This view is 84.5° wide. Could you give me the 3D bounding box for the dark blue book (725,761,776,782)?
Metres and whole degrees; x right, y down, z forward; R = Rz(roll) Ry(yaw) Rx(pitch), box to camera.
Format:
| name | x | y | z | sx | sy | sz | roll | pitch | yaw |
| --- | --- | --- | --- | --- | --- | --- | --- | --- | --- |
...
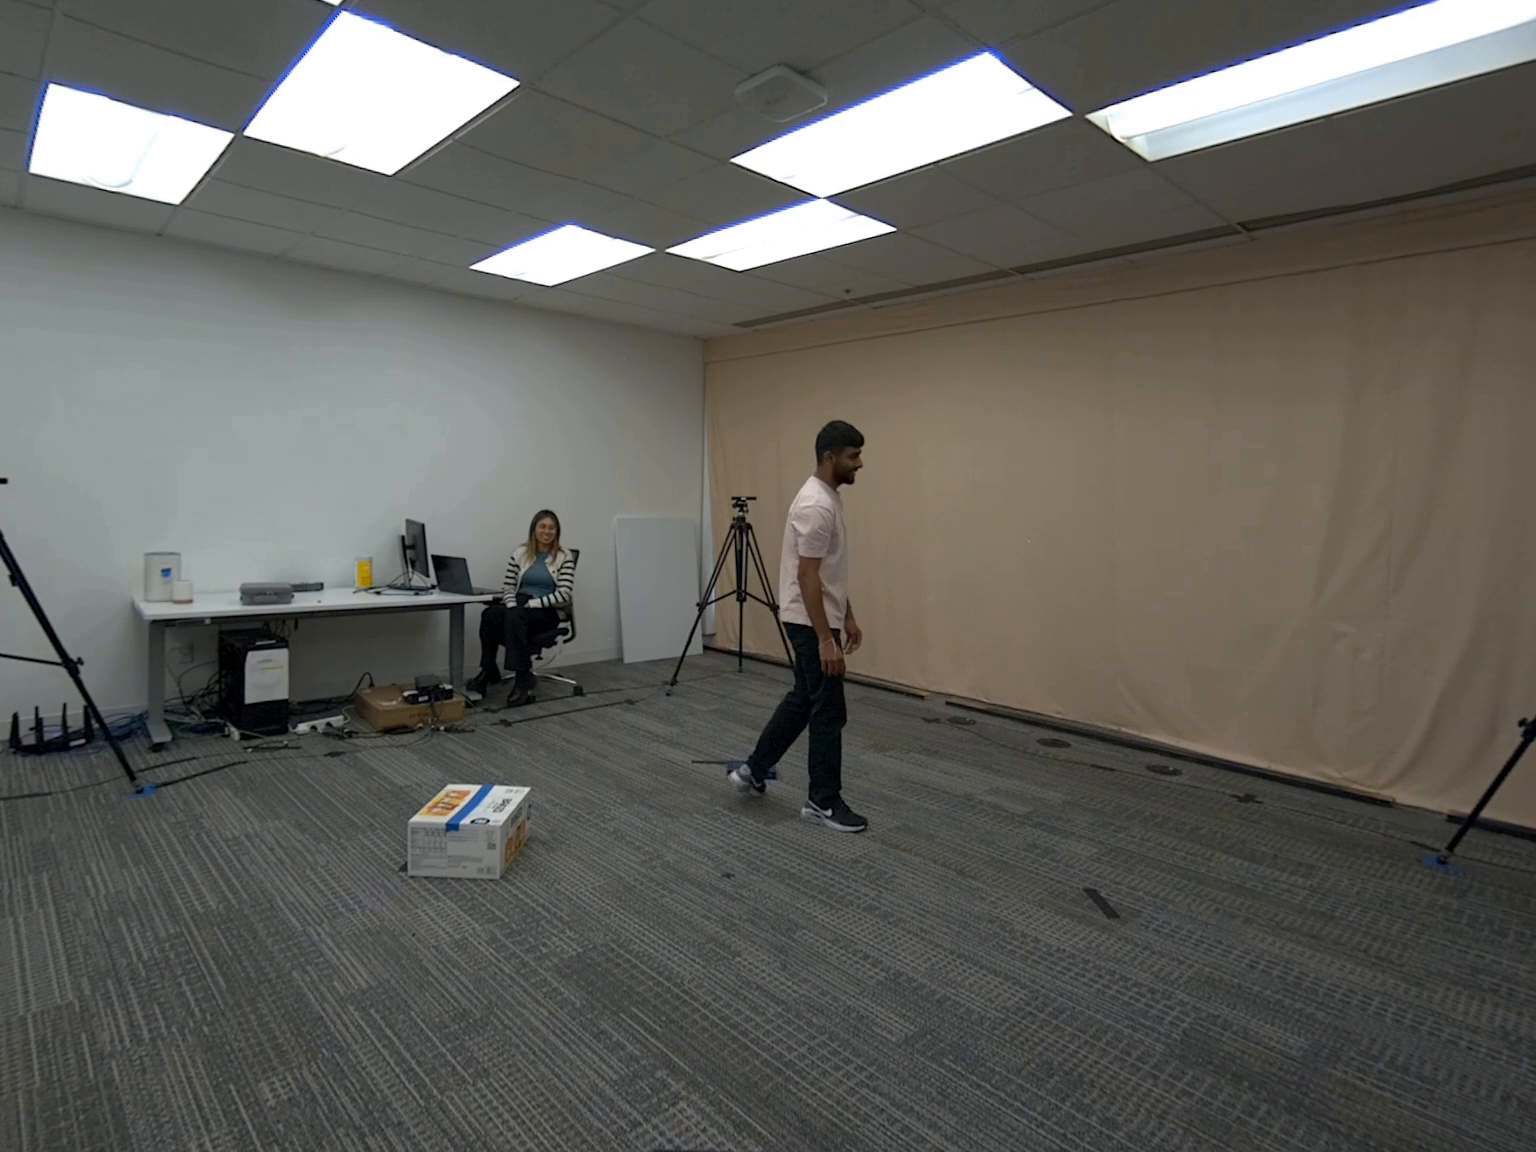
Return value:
| name | x | y | z | sx | sy | sz | roll | pitch | yaw |
| --- | --- | --- | --- | --- | --- | --- | --- | --- | --- |
| dark blue book | -0.092 | 0.985 | 4.277 | 0.245 | 0.045 | 0.164 | 1 | 4 | -2 |
